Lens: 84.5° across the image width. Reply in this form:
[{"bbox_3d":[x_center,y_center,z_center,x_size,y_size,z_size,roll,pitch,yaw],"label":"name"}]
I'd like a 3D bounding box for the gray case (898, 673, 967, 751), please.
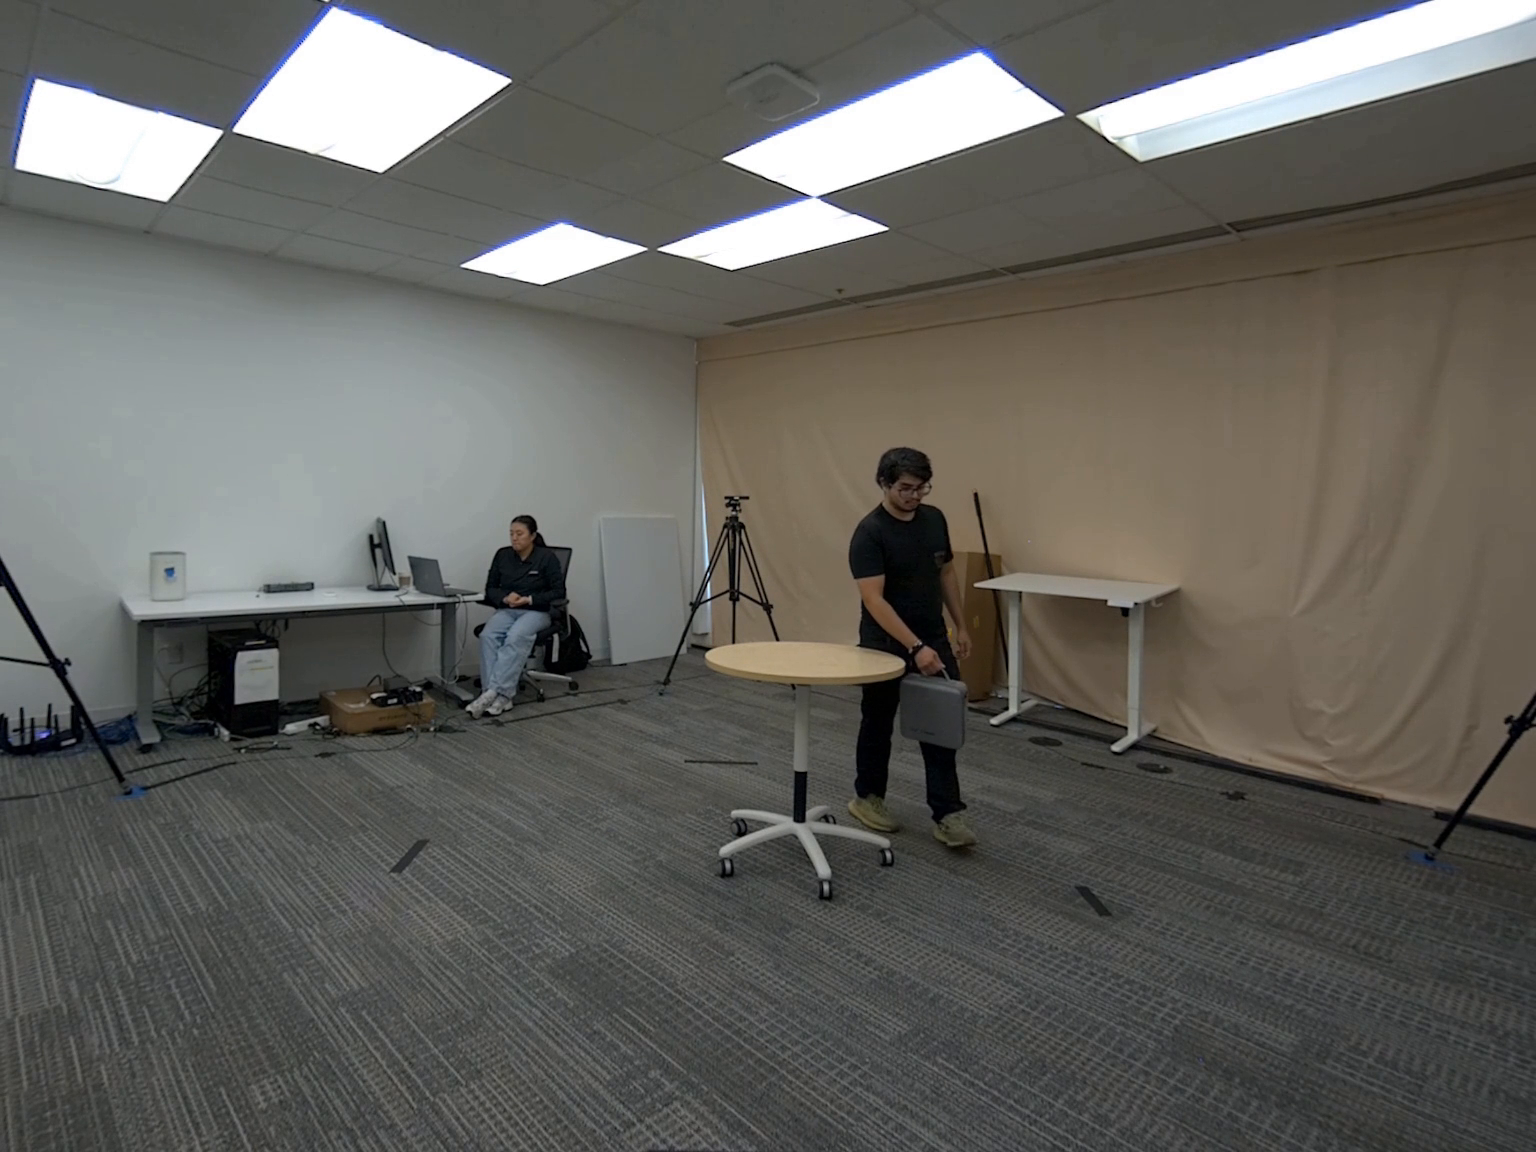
[{"bbox_3d":[0.632,0.516,3.278,0.263,0.258,0.103,7,17,34],"label":"gray case"}]
